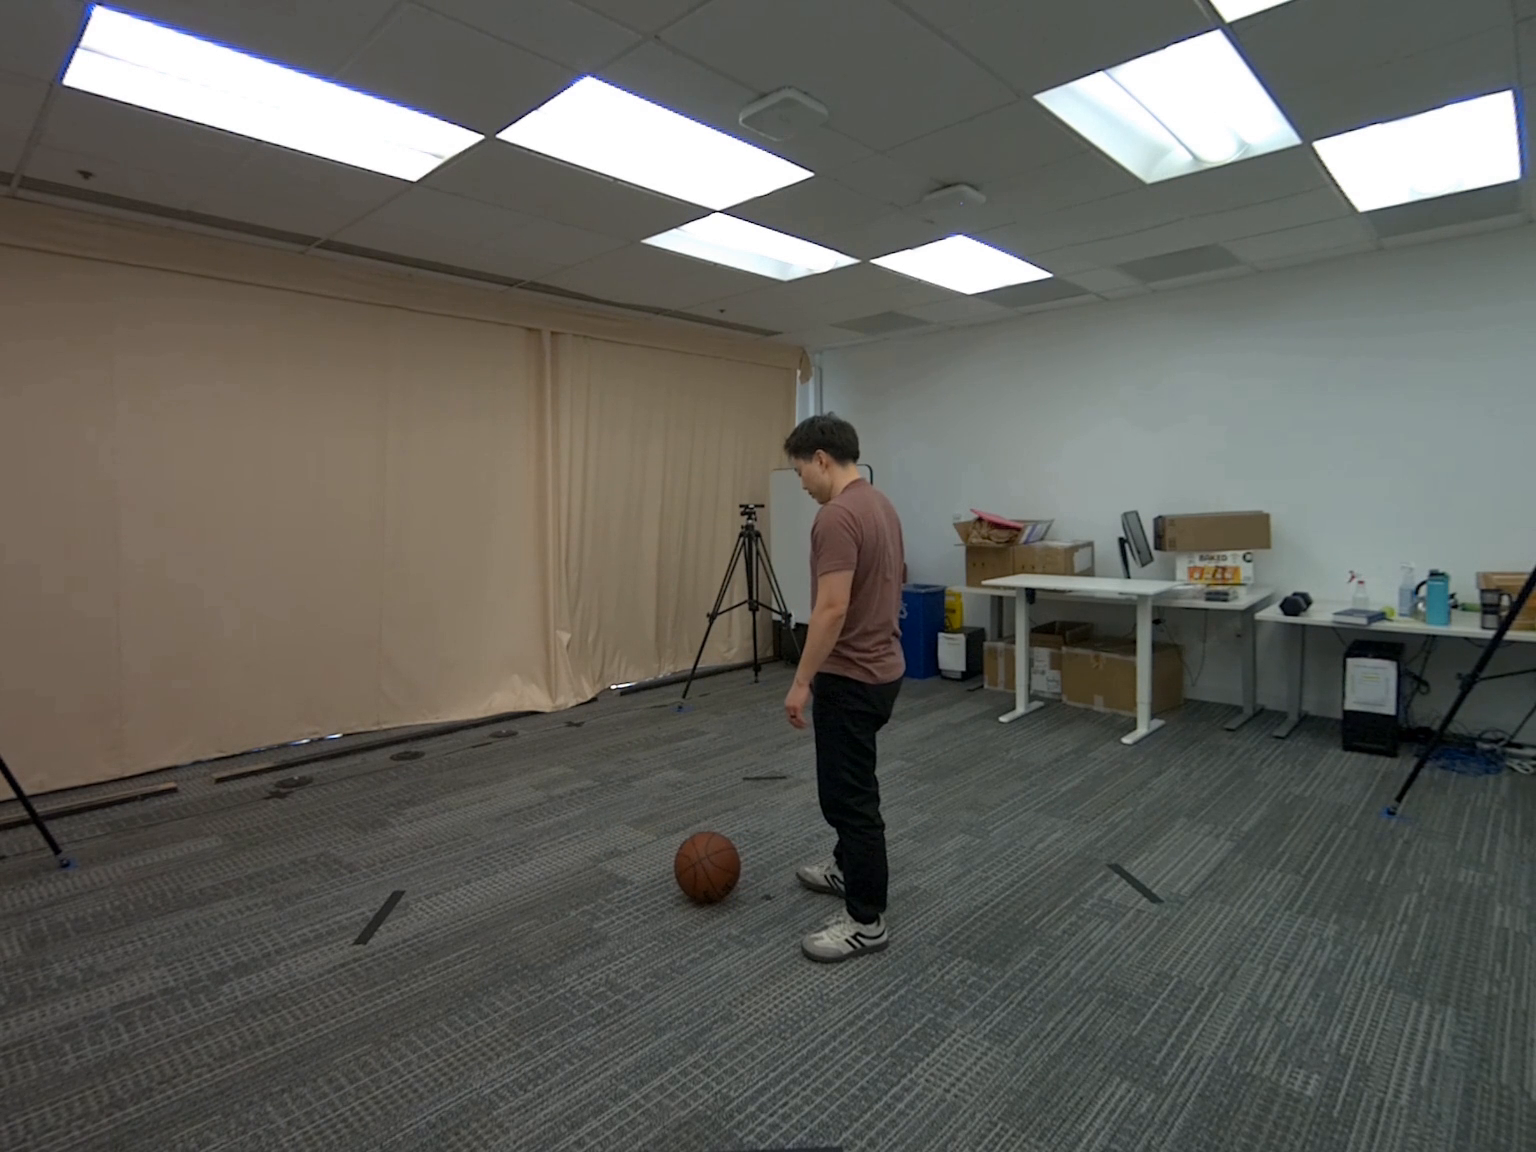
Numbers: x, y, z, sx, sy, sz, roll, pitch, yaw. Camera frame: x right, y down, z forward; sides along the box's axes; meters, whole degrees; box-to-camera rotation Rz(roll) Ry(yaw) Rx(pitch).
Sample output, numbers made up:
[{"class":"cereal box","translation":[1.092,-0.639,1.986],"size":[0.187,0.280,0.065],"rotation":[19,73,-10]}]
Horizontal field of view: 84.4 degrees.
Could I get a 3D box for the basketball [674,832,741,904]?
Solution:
[{"class":"basketball","translation":[-0.216,1.028,2.976],"size":[0.236,0.235,0.237],"rotation":[-1,4,-2]}]
